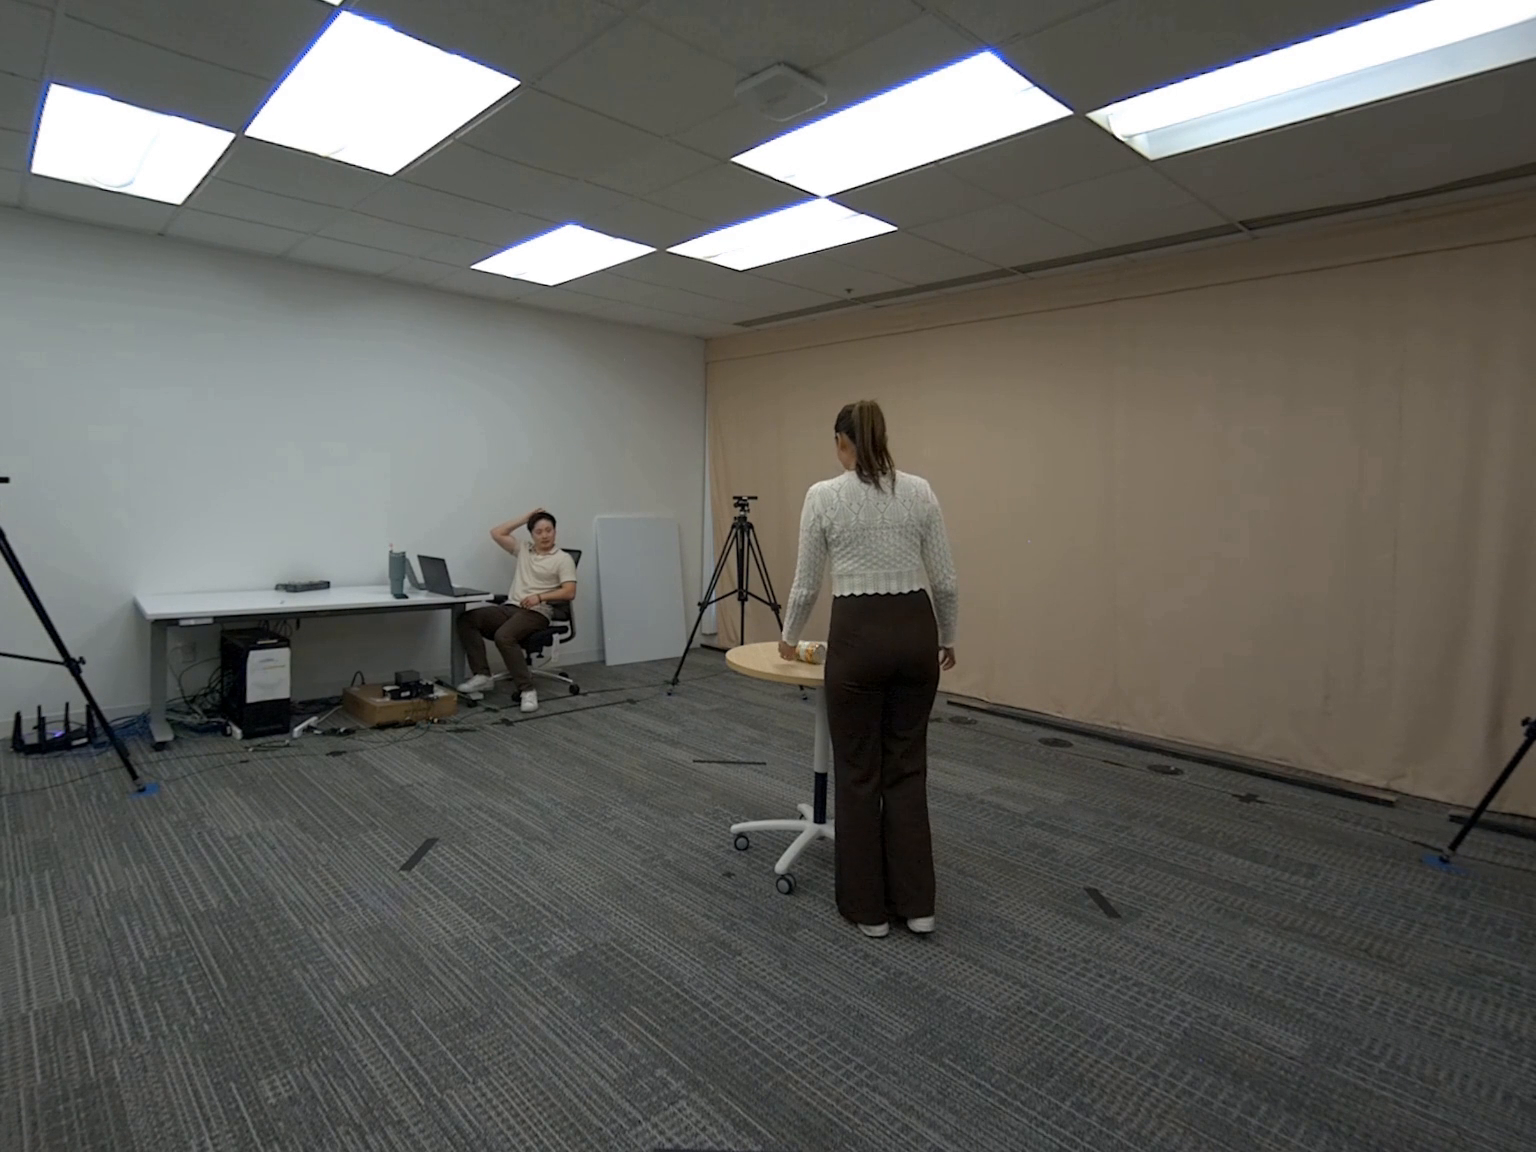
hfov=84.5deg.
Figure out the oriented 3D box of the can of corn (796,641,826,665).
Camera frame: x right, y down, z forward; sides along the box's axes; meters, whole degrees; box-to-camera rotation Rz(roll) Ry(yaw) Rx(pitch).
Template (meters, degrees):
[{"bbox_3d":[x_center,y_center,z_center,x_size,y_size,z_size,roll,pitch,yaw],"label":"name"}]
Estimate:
[{"bbox_3d":[0.150,0.283,3.153,0.072,0.074,0.114,-3,5,-44],"label":"can of corn"}]
